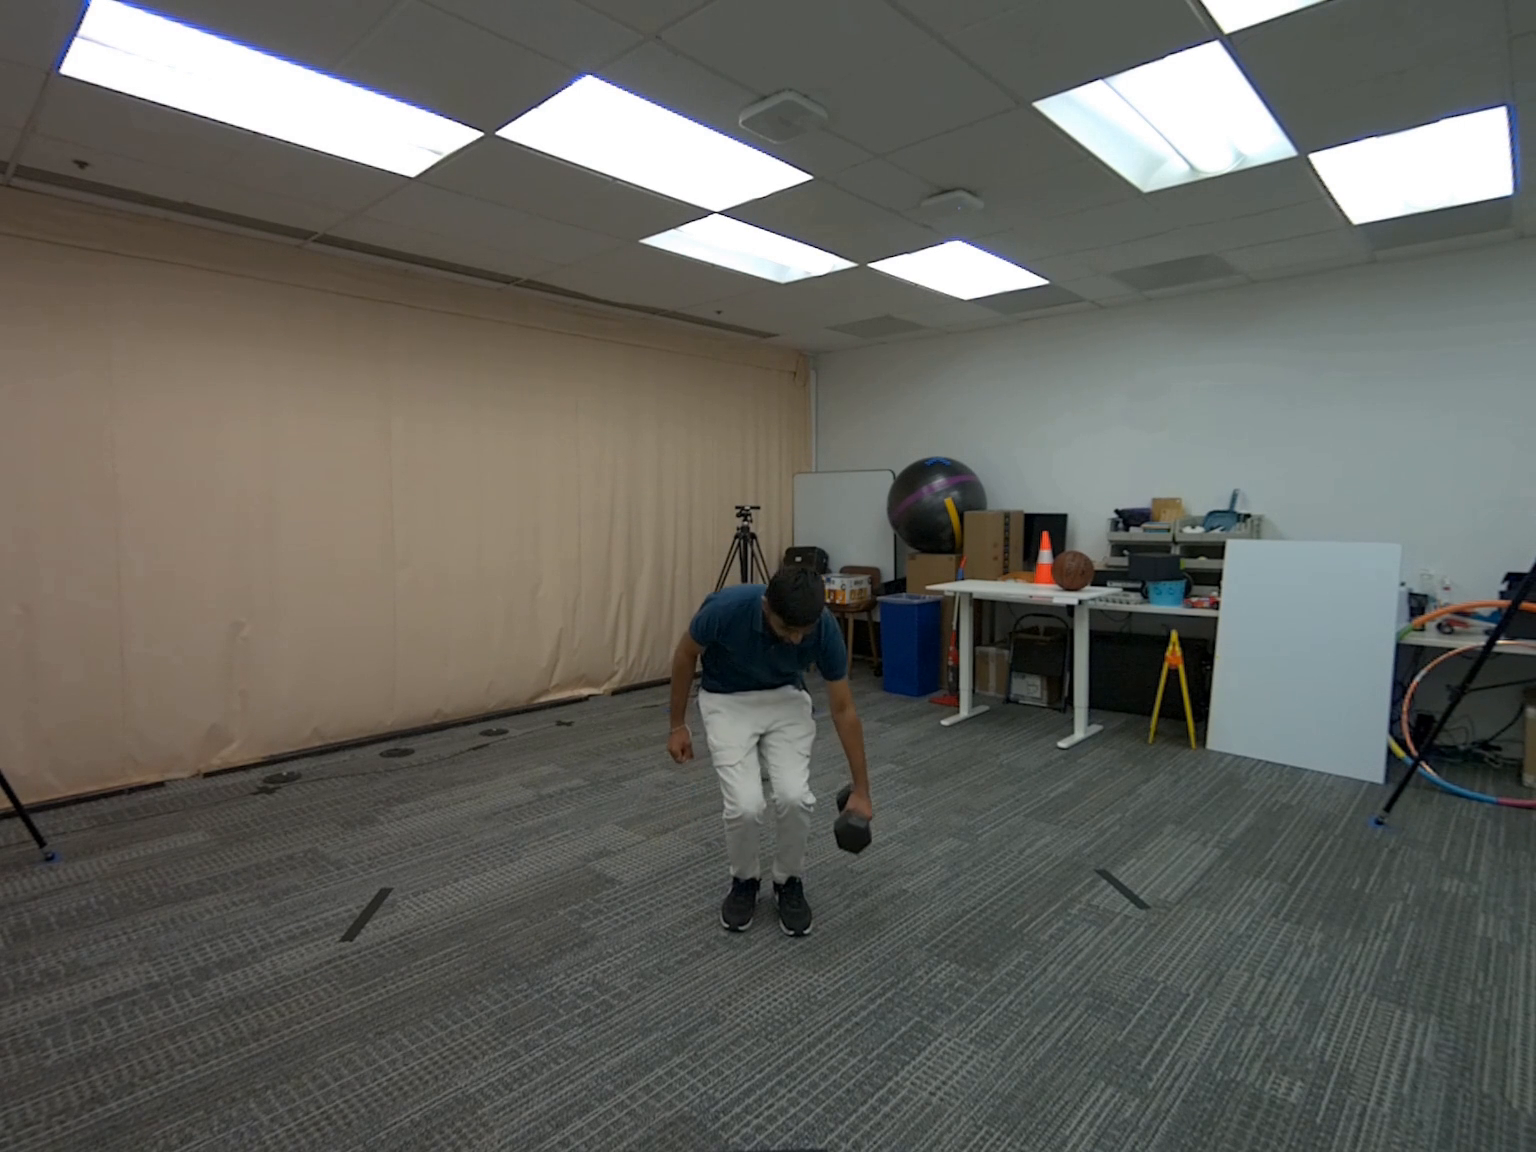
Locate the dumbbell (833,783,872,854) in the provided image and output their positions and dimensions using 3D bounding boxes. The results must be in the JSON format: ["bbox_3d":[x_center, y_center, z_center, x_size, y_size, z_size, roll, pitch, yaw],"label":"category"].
[{"bbox_3d":[0.281,0.784,2.726,0.110,0.122,0.293,-14,8,9],"label":"dumbbell"}]
